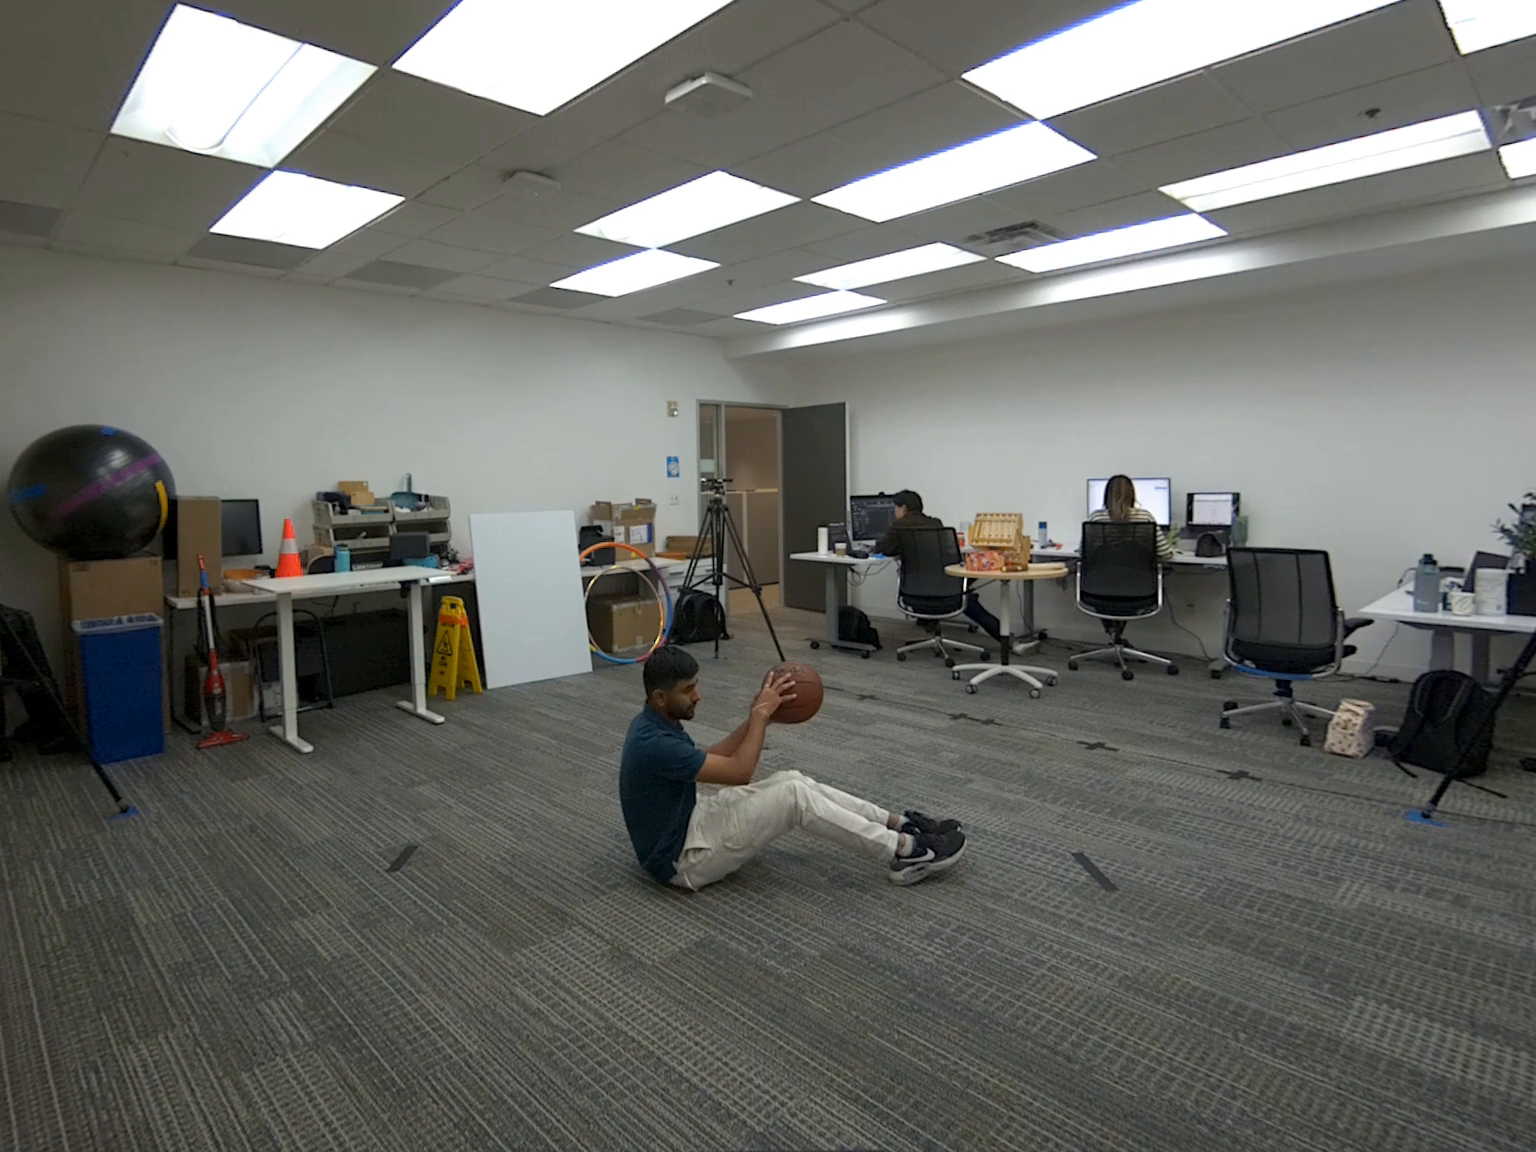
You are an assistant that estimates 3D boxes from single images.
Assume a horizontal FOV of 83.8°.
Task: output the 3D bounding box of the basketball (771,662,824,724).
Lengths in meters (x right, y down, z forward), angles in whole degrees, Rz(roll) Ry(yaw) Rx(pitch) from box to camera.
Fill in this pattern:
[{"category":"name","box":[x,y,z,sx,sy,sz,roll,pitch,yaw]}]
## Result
[{"category":"basketball","box":[0.096,0.442,3.239,0.236,0.235,0.237,-1,5,-2]}]
